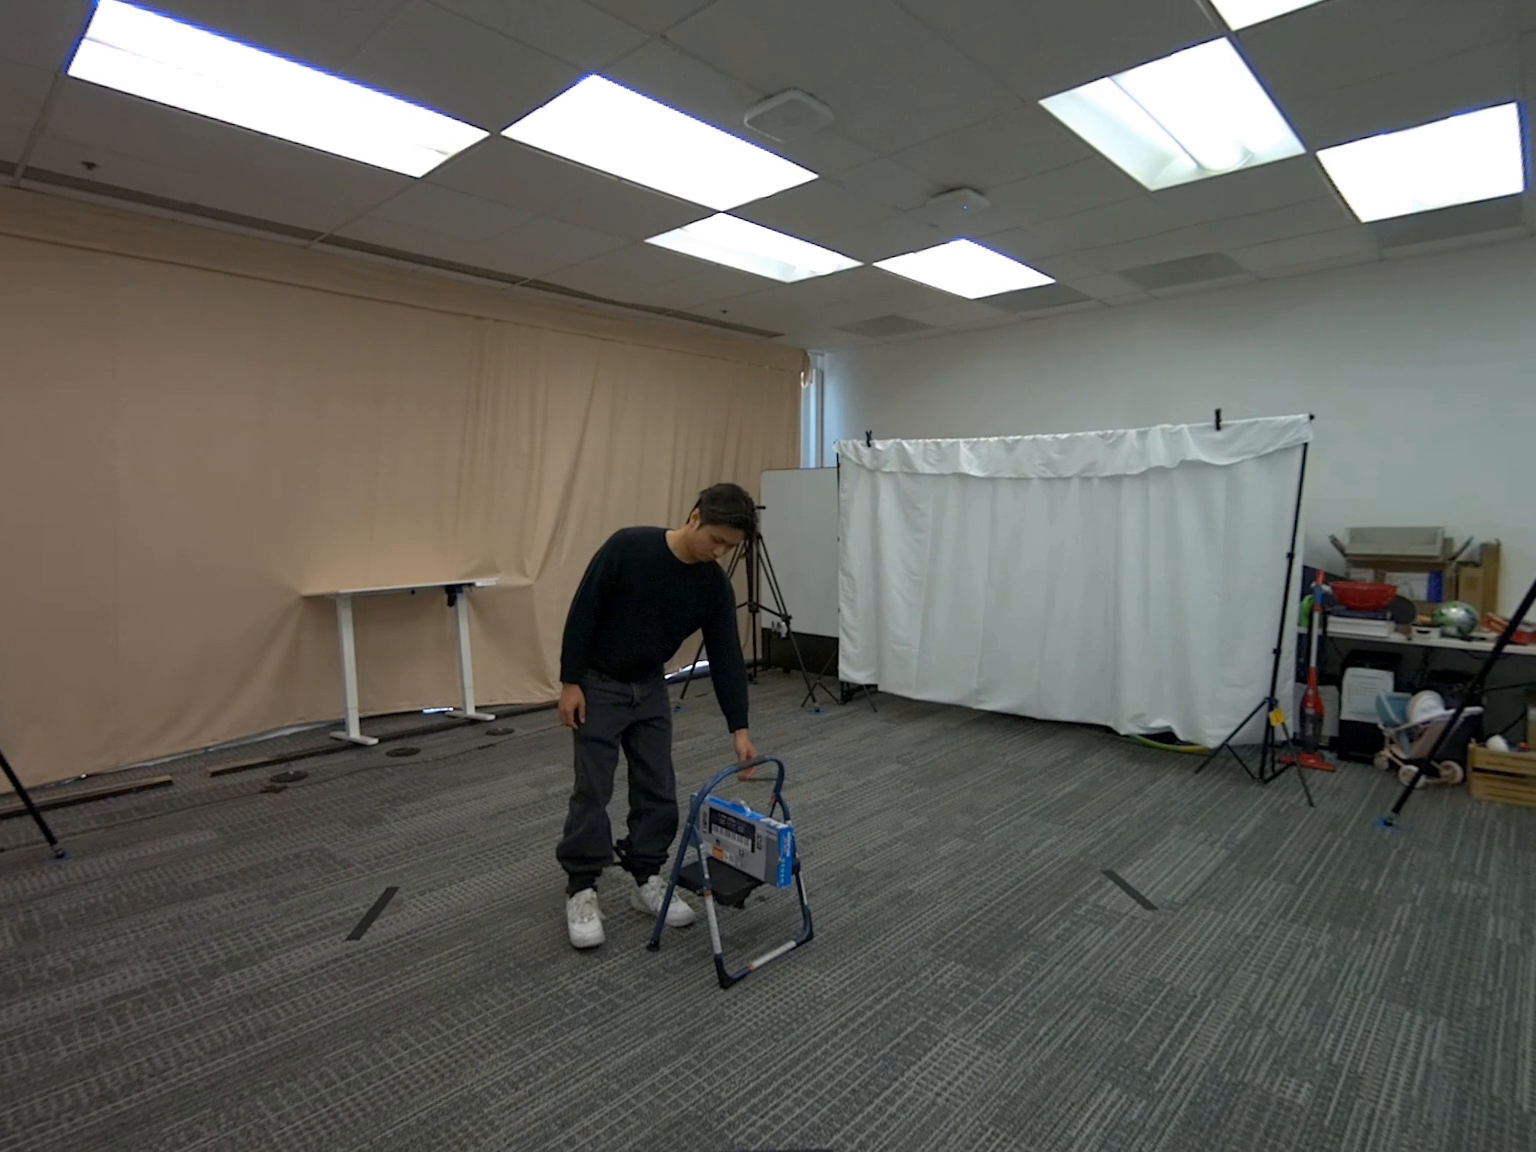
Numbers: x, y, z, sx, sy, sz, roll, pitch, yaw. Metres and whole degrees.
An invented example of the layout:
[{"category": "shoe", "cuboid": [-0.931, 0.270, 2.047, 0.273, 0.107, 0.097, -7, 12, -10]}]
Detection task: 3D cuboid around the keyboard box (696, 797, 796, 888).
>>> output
[{"category": "keyboard box", "cuboid": [-0.090, 0.820, 2.657, 0.057, 0.176, 0.451, 1, 2, -41]}]
